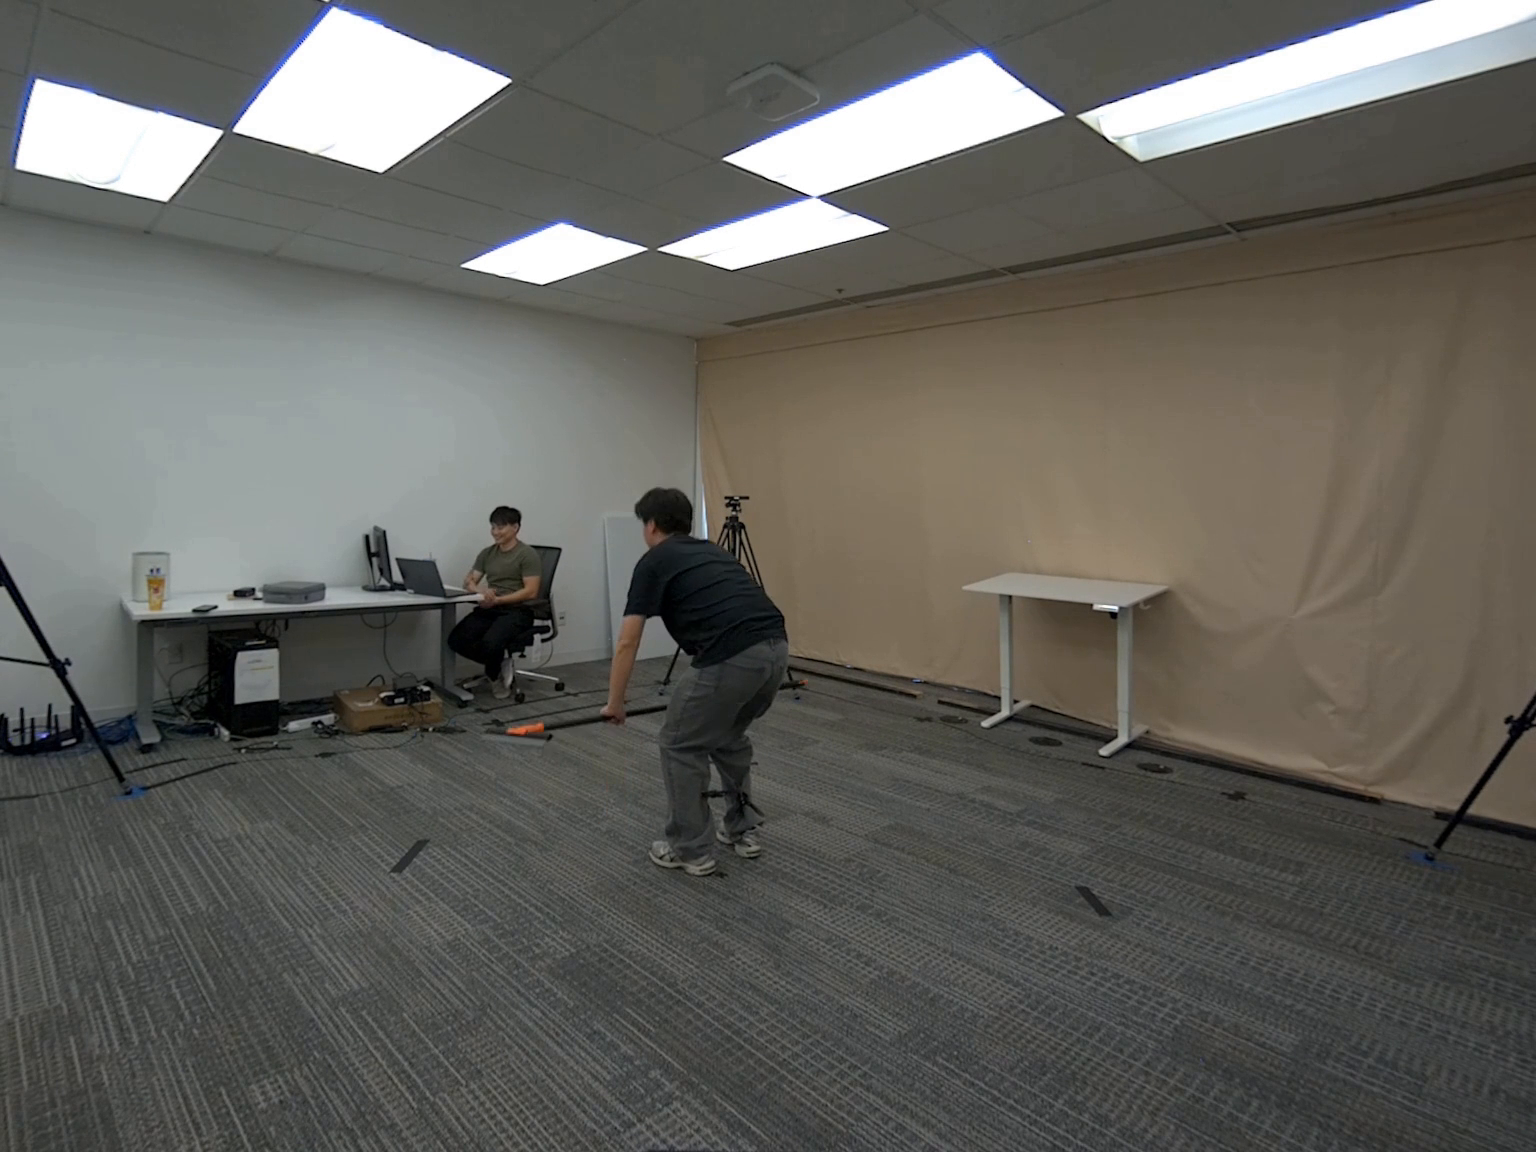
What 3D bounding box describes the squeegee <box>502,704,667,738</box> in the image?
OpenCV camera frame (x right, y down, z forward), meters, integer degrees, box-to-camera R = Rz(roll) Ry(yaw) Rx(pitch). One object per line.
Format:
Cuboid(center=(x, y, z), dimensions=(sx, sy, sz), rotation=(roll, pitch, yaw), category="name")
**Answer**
Cuboid(center=(-0.369, 0.532, 3.435), dimensions=(1.501, 0.053, 0.446), rotation=(-1, -4, -44), category="squeegee")
